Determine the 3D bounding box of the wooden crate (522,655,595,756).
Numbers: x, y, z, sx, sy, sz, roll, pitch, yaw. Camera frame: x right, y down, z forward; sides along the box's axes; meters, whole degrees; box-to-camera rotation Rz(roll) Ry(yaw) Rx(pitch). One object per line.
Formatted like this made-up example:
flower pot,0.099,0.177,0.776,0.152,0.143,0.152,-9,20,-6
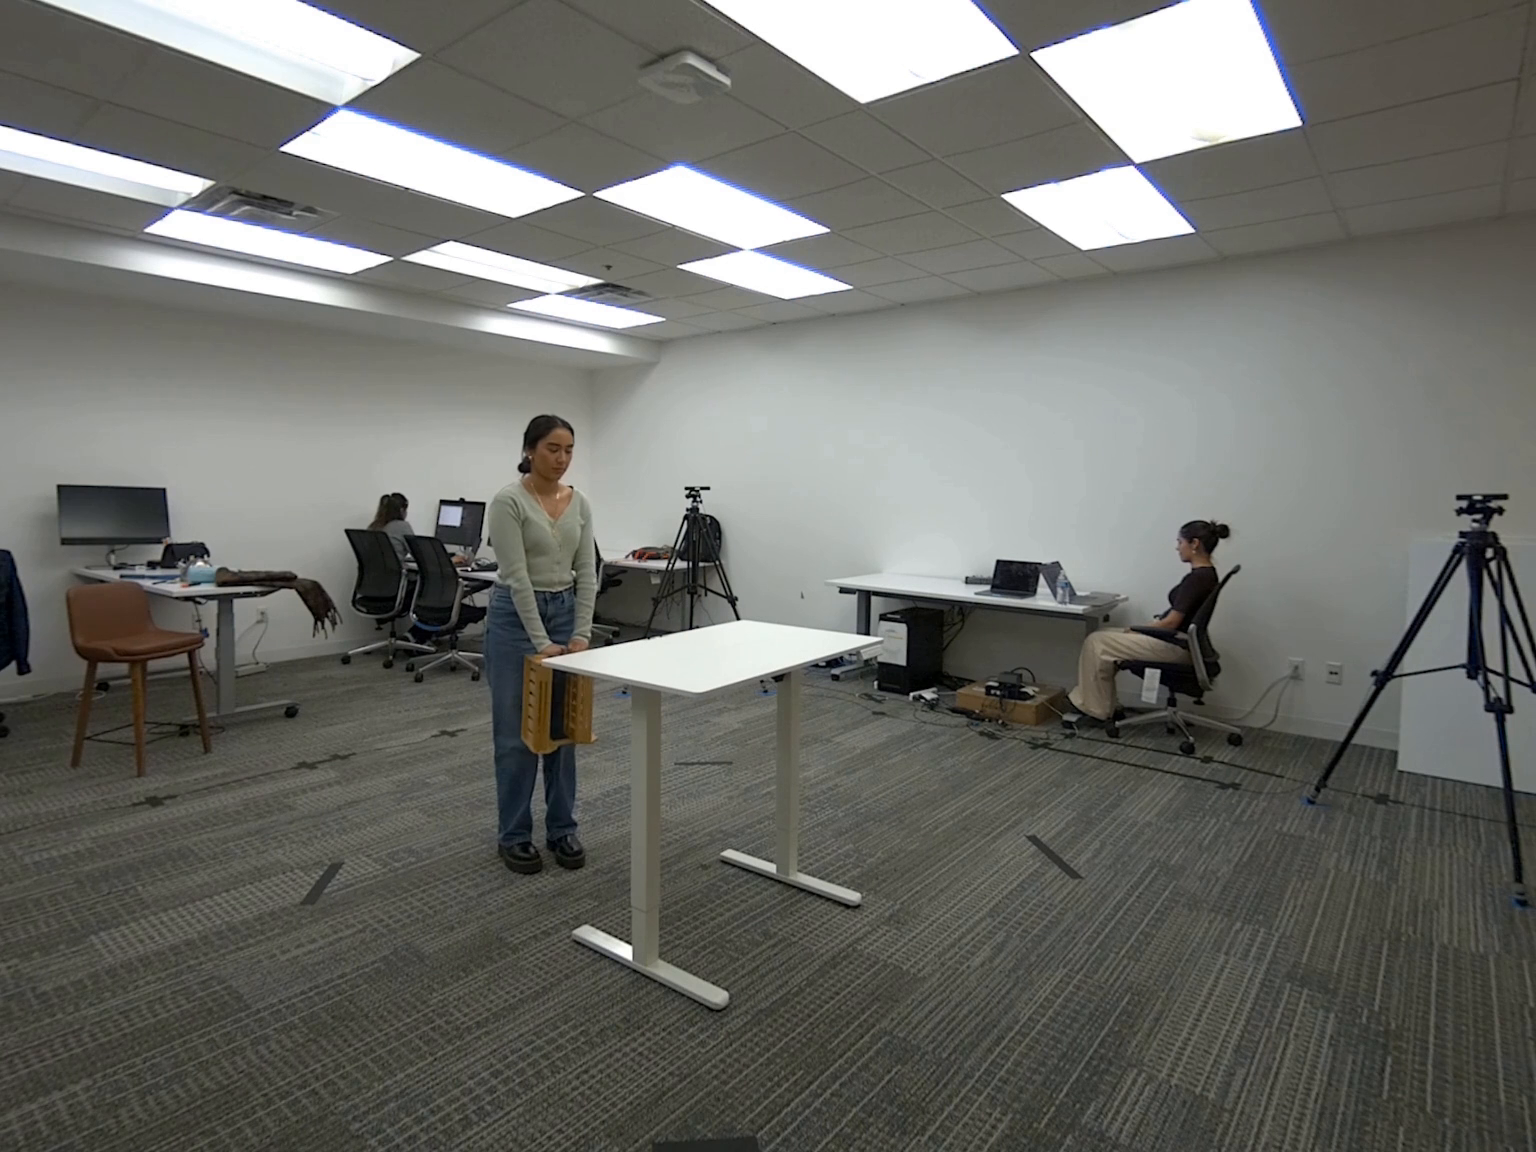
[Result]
wooden crate,-0.724,0.439,3.022,0.266,0.325,0.310,3,0,-26
